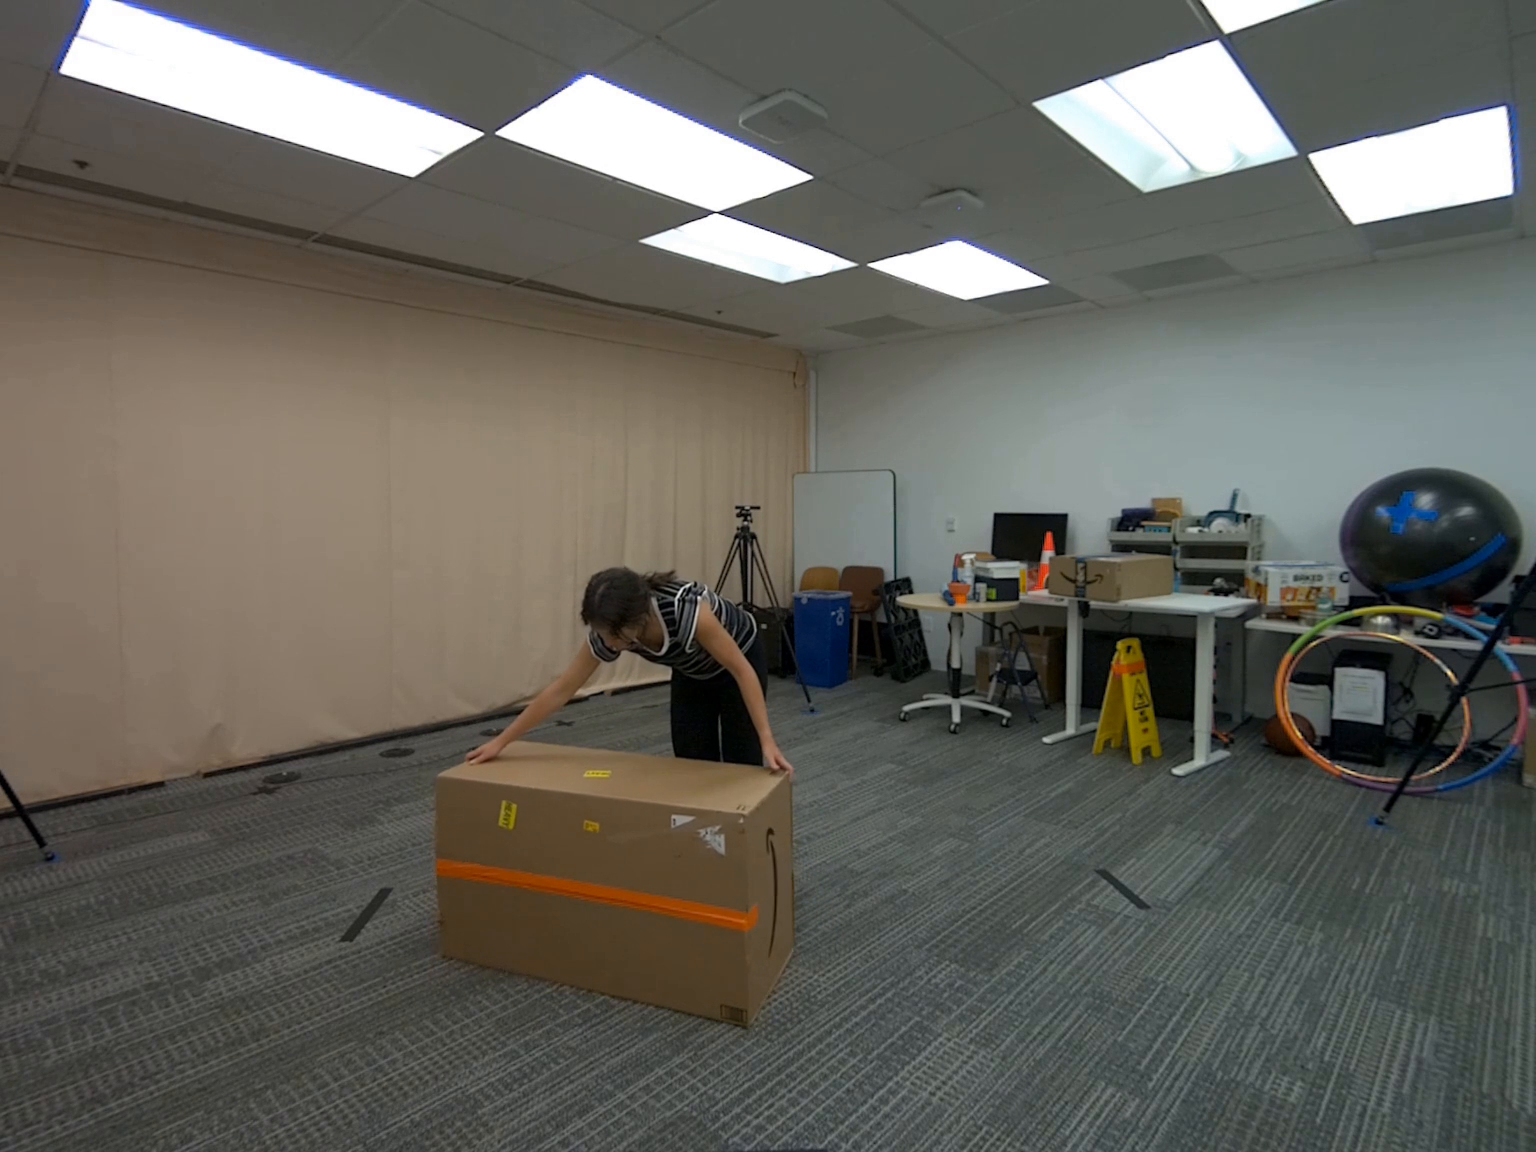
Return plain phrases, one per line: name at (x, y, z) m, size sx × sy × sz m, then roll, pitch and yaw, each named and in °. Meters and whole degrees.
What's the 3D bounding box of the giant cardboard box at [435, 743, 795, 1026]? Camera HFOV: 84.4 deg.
giant cardboard box at (-0.476, 0.886, 2.603) m, size 1.048 × 0.576 × 0.418 m, roll 1°, pitch 3°, yaw 20°
